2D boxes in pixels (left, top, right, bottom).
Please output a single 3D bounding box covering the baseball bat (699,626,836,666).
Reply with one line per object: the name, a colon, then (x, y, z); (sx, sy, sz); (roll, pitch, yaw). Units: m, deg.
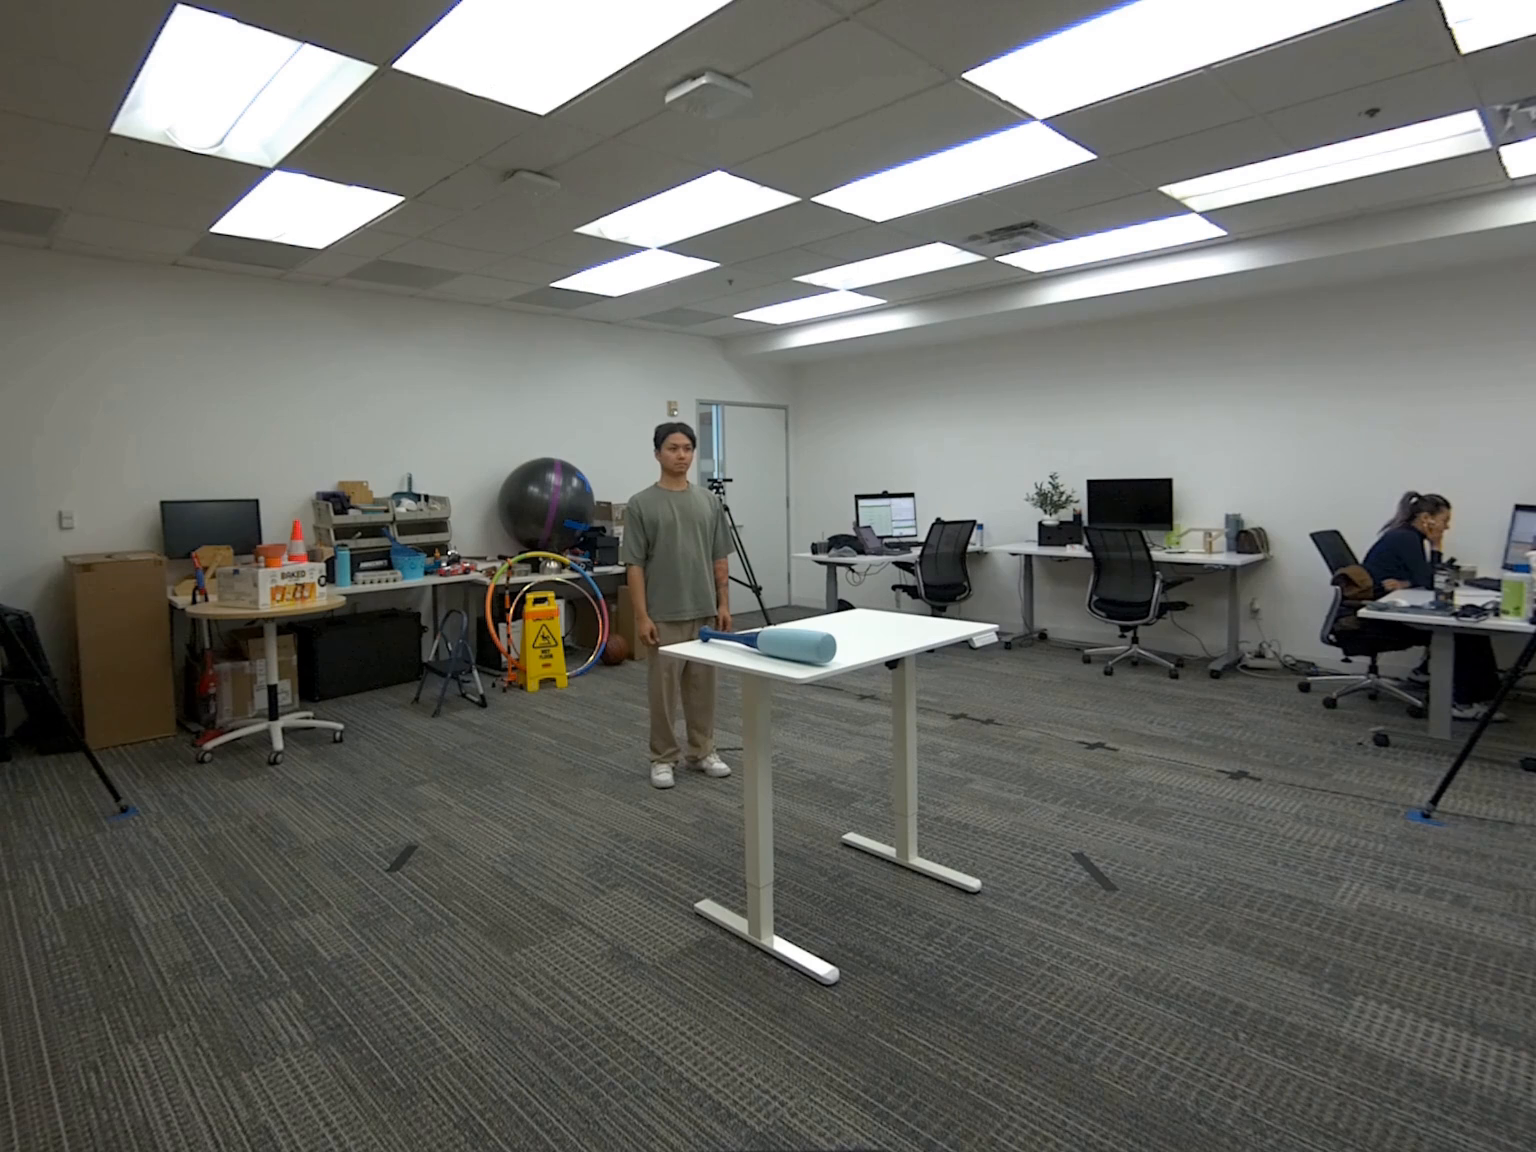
baseball bat: (-0.020, 0.197, 2.520); (0.087, 0.089, 0.559); (-5, 5, -43)
